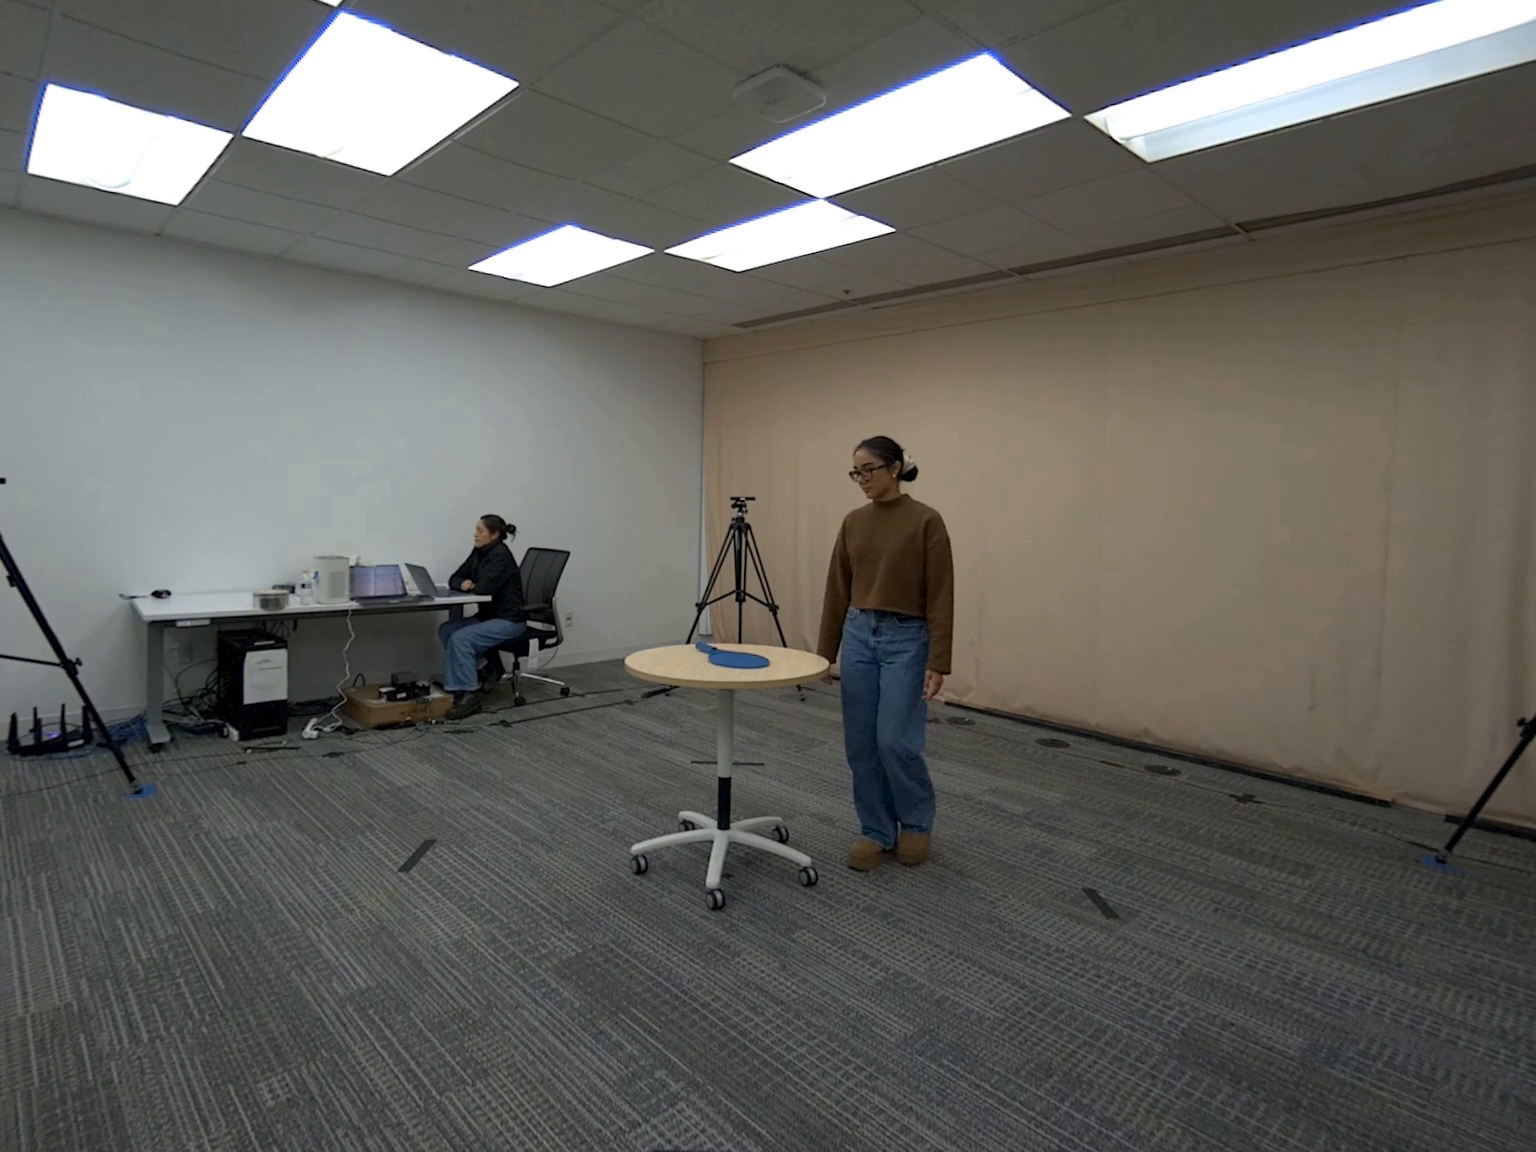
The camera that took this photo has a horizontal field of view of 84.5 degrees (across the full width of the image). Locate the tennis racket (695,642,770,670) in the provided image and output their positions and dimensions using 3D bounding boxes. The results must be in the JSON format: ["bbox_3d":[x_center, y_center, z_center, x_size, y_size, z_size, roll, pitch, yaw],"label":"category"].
[{"bbox_3d":[-0.156,0.307,3.198,0.209,0.031,0.444,-3,8,-32],"label":"tennis racket"}]
